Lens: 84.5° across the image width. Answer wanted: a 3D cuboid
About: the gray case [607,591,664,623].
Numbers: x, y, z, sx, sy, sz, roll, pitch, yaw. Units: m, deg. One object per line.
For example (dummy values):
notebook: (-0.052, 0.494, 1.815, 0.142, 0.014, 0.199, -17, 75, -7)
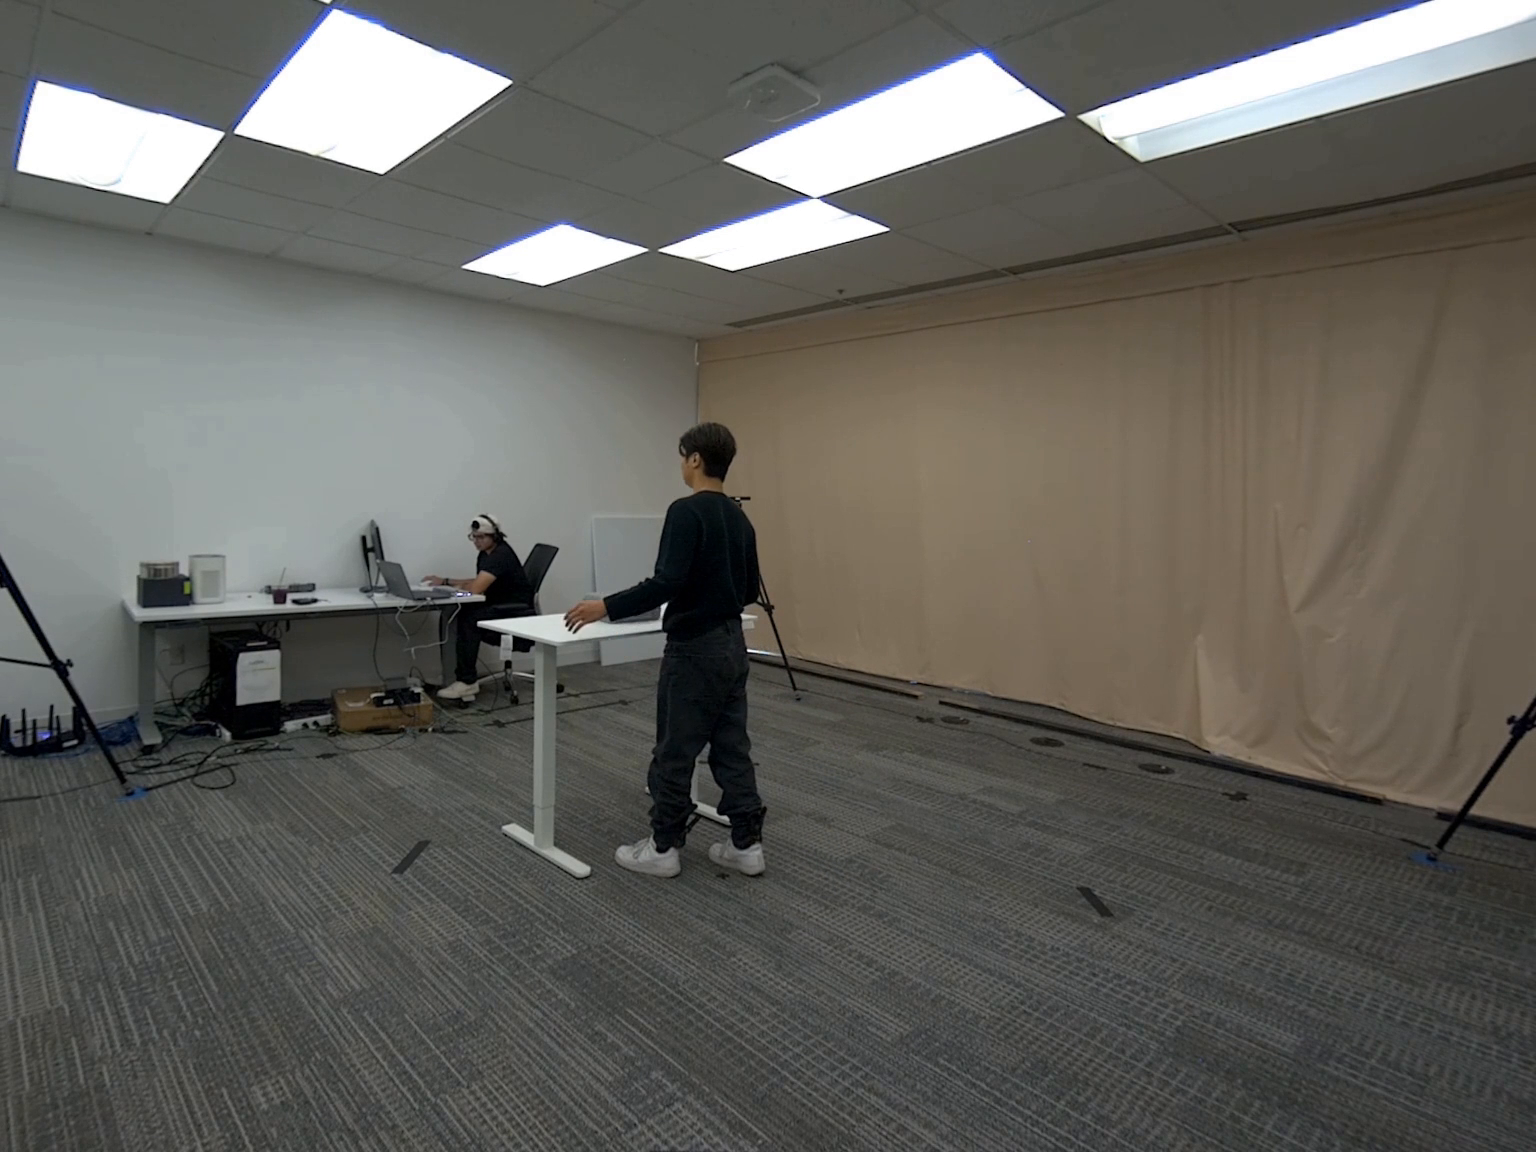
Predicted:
gray case: (-0.605, 0.126, 3.509, 0.251, 0.104, 0.267, -2, 6, -39)
